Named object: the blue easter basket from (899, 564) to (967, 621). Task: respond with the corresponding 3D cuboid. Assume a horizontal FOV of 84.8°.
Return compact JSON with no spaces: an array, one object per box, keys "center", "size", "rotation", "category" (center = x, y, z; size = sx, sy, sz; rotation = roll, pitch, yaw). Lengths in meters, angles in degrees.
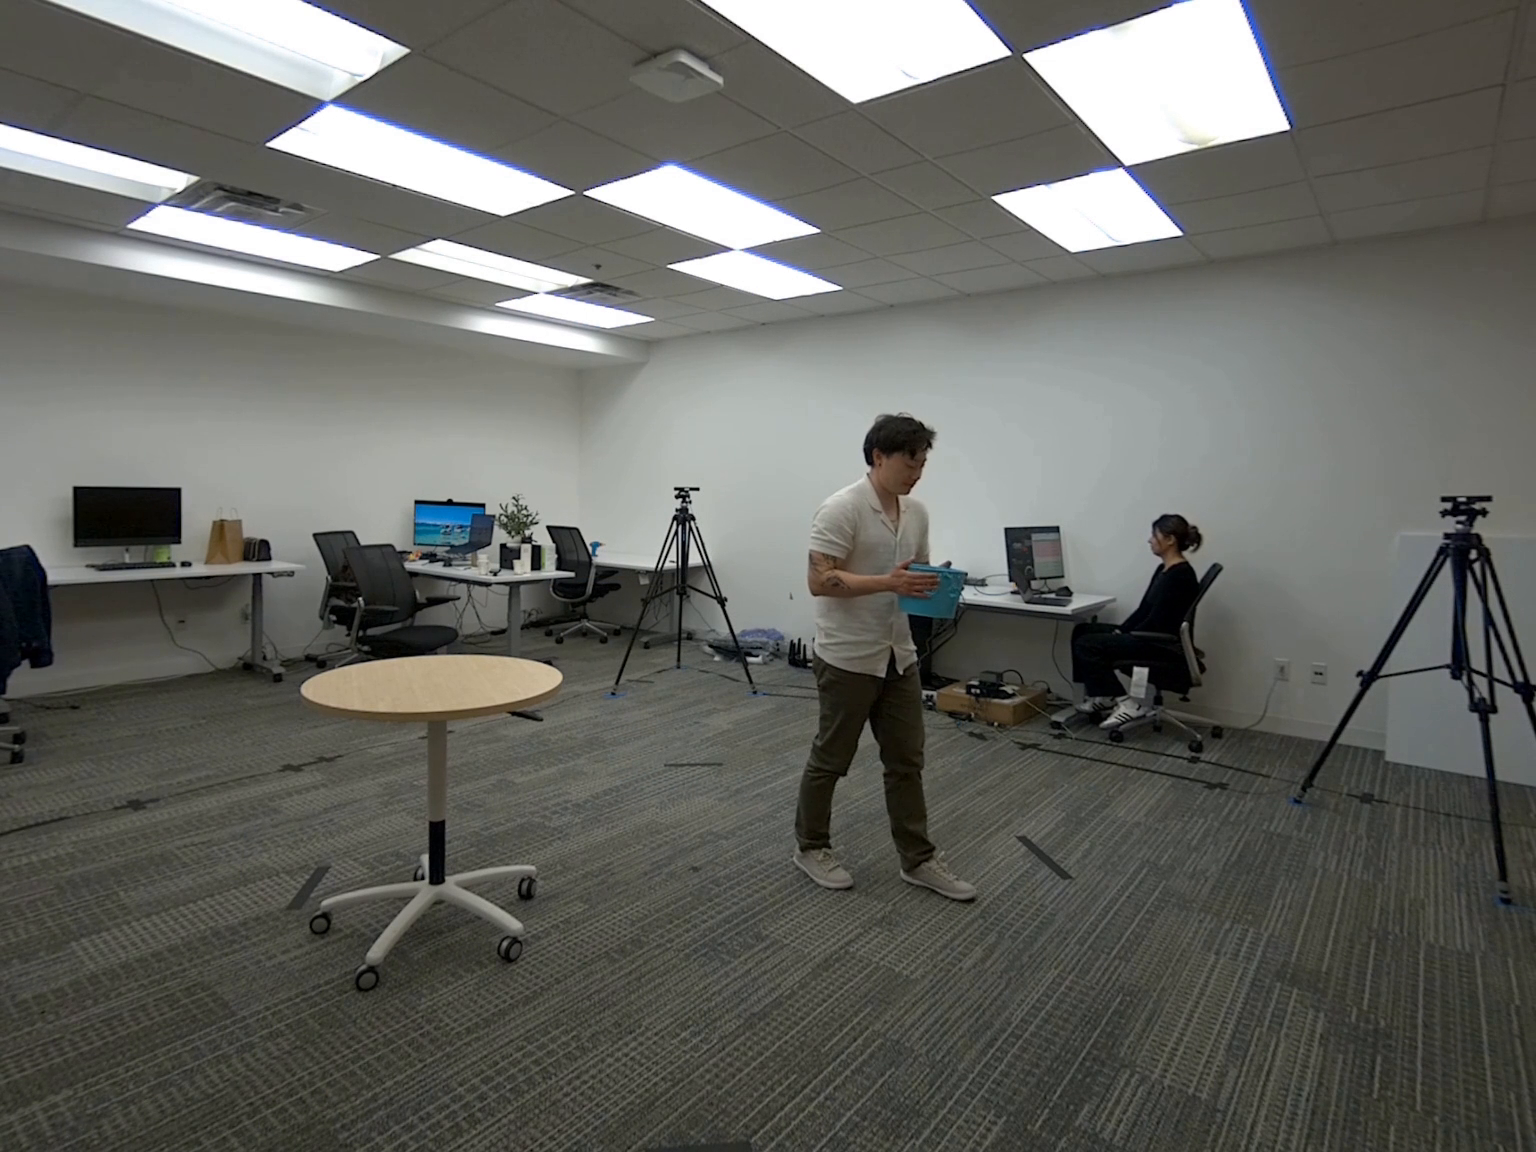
[{"center":[0.541,0.046,2.792],"size":[0.243,0.156,0.244],"rotation":[6,1,-2],"category":"blue easter basket"}]
